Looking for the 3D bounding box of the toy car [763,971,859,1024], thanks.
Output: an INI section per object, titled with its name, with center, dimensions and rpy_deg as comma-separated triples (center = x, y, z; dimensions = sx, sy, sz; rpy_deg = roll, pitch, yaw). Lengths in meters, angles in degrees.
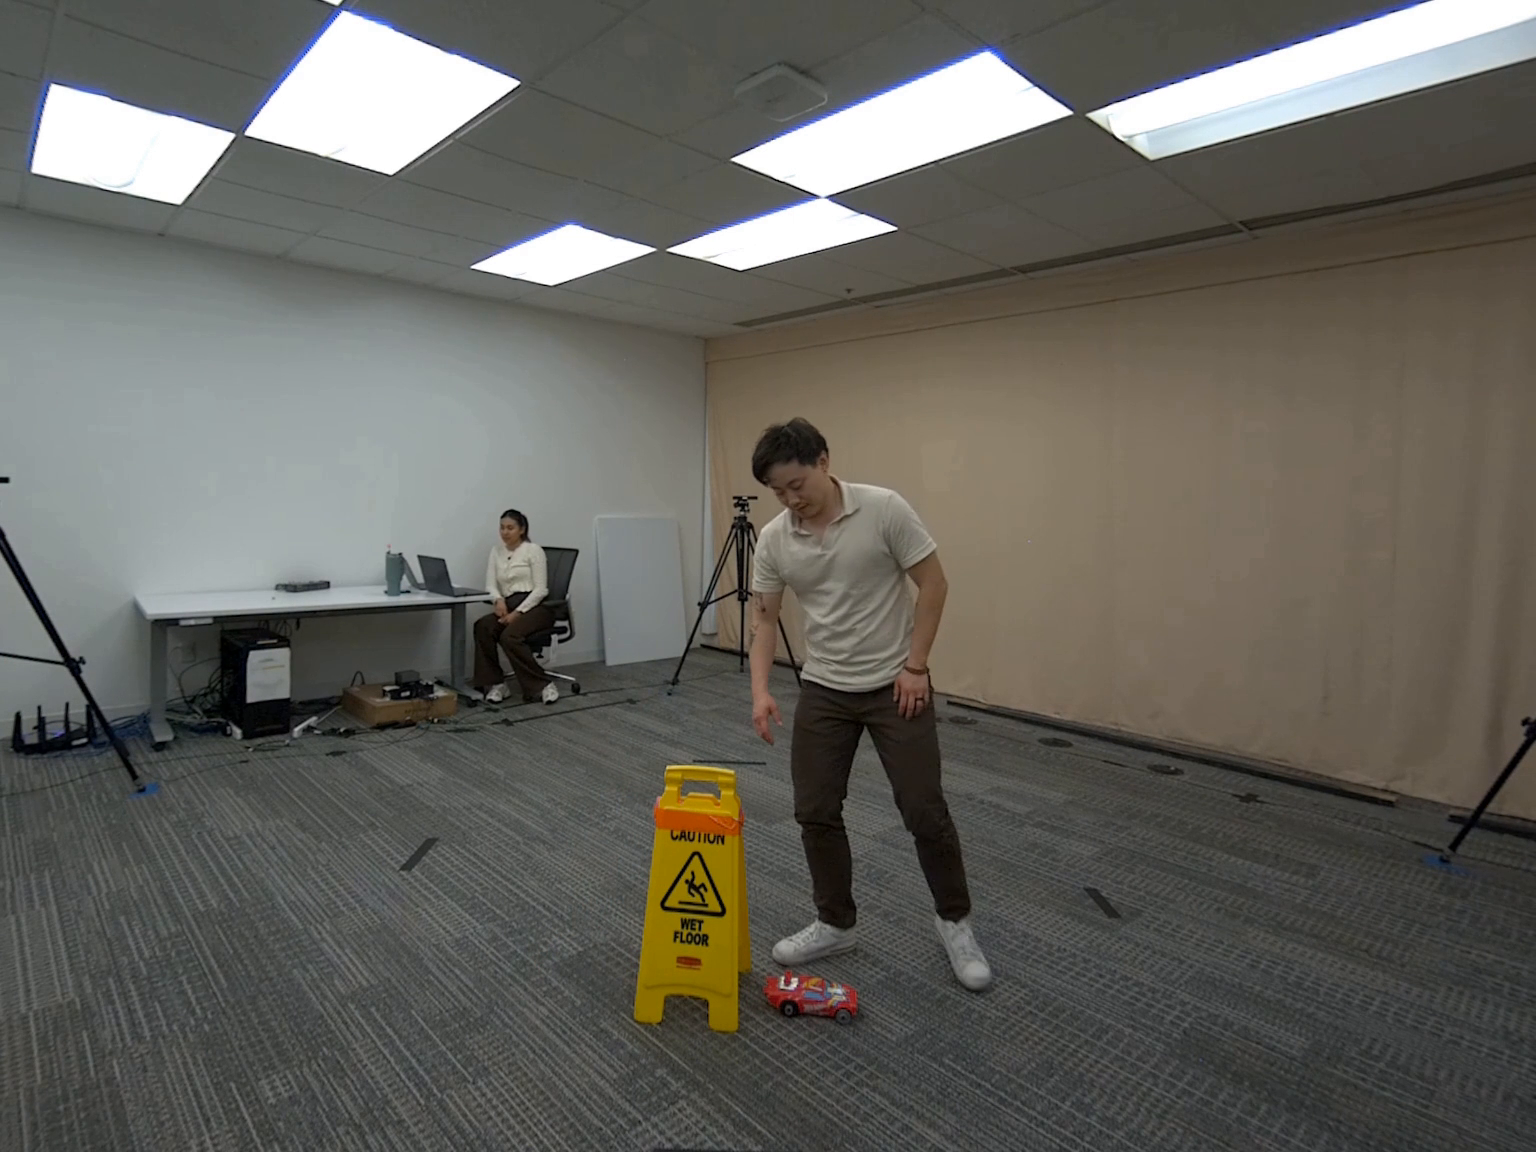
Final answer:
[toy car]
center = 0.107, 1.152, 2.296
dimensions = 0.257, 0.083, 0.129
rpy_deg = 13, 7, 9
